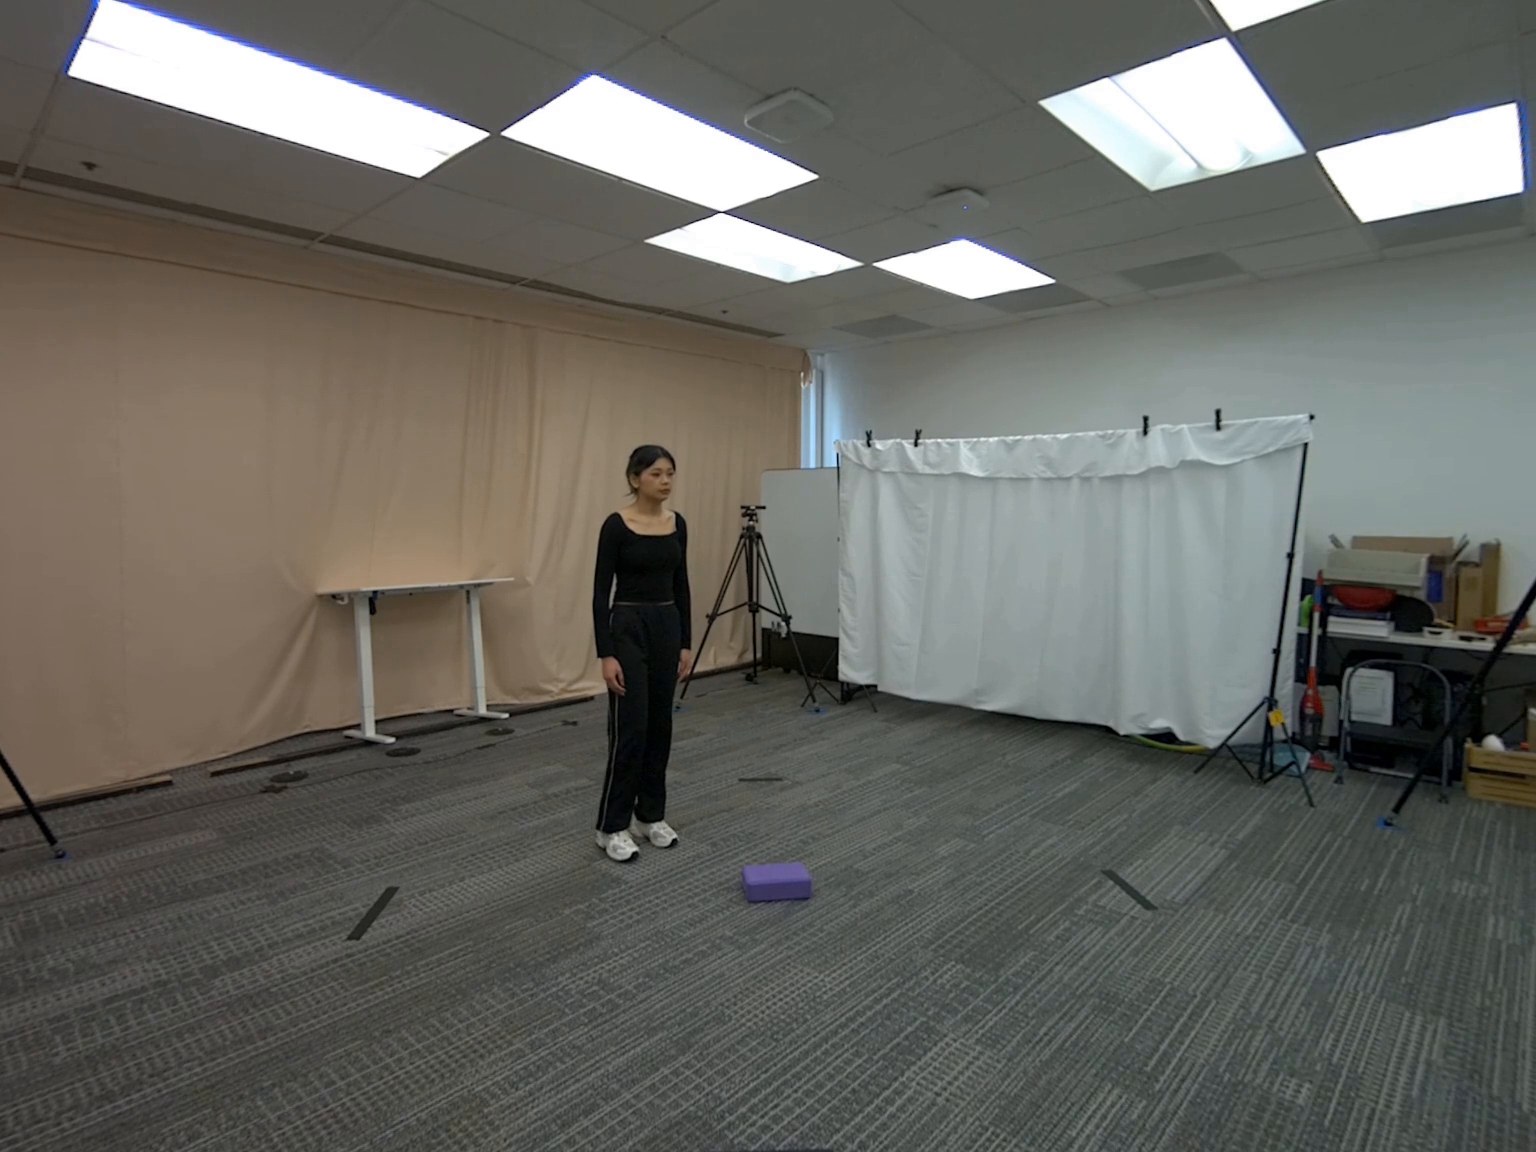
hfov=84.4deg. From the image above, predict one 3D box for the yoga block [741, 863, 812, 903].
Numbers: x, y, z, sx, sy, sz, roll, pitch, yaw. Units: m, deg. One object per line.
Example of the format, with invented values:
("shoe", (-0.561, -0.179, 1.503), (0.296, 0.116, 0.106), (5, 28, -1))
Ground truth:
("yoga block", (0.033, 1.099, 3.027), (0.227, 0.076, 0.150), (-1, 5, -8))
